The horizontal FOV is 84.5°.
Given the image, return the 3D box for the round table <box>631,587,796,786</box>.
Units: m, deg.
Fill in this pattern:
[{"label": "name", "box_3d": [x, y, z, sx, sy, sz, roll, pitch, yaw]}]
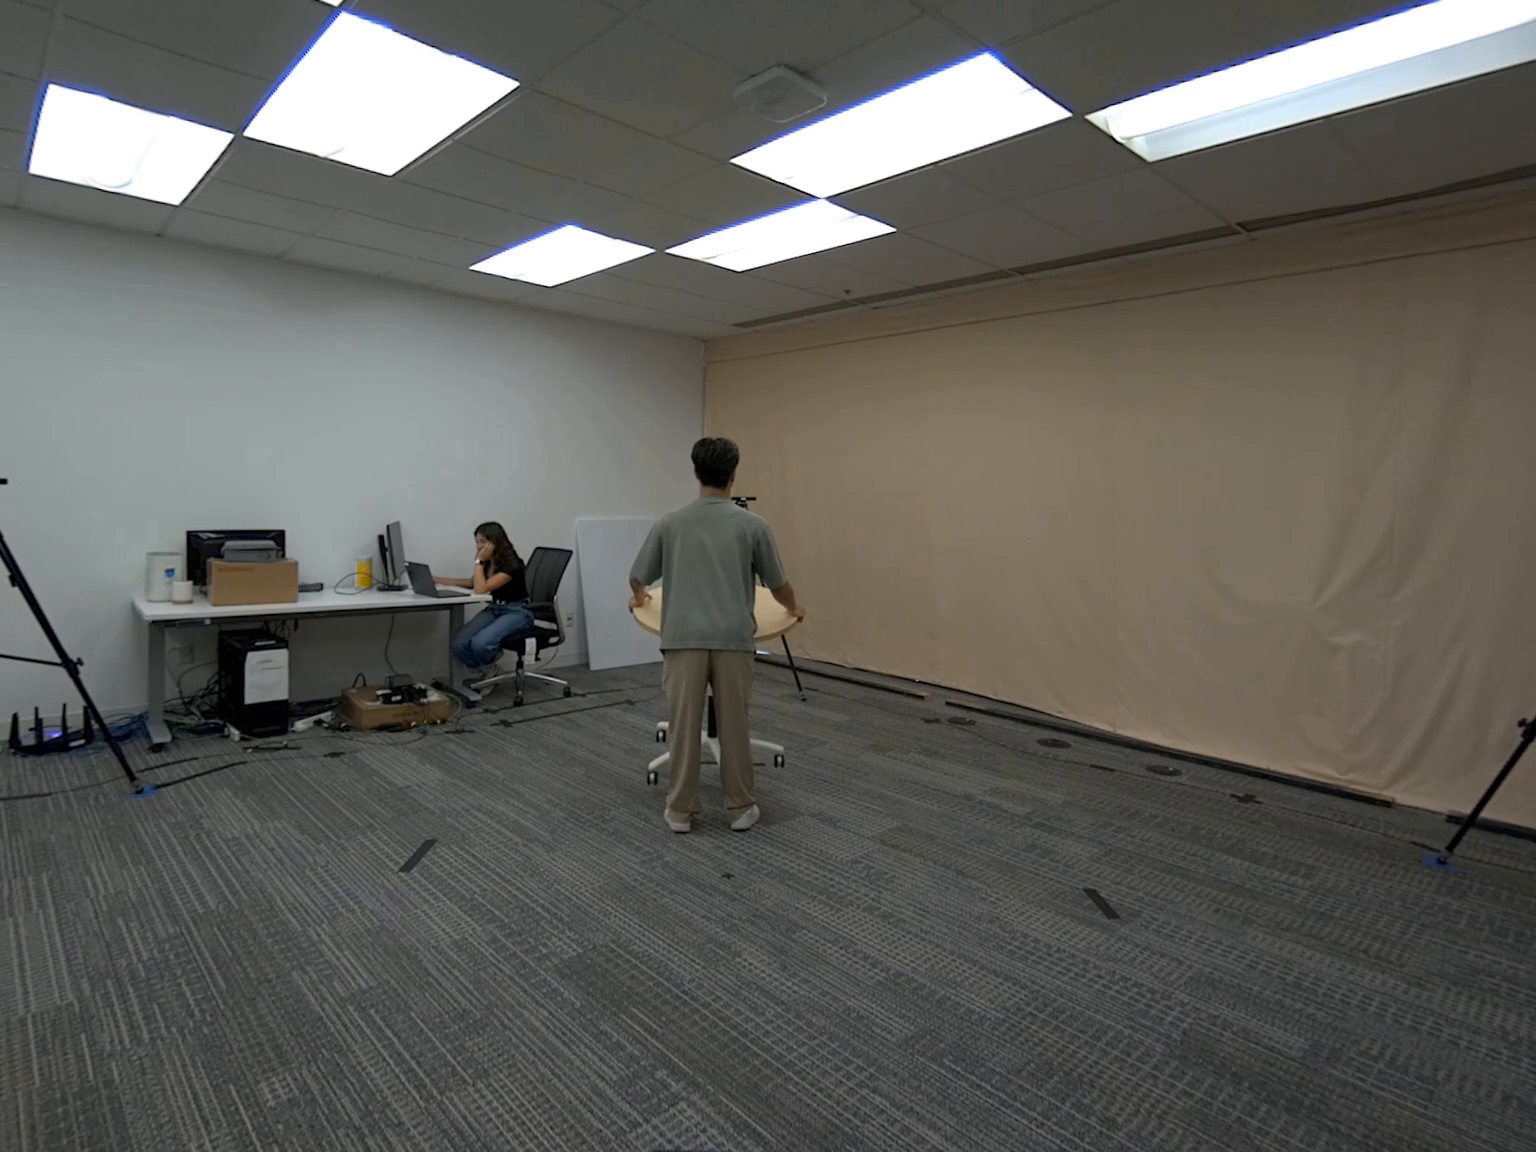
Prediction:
[{"label": "round table", "box_3d": [-0.254, 0.534, 4.013, 0.784, 0.777, 0.795, 1, 17, -2]}]
